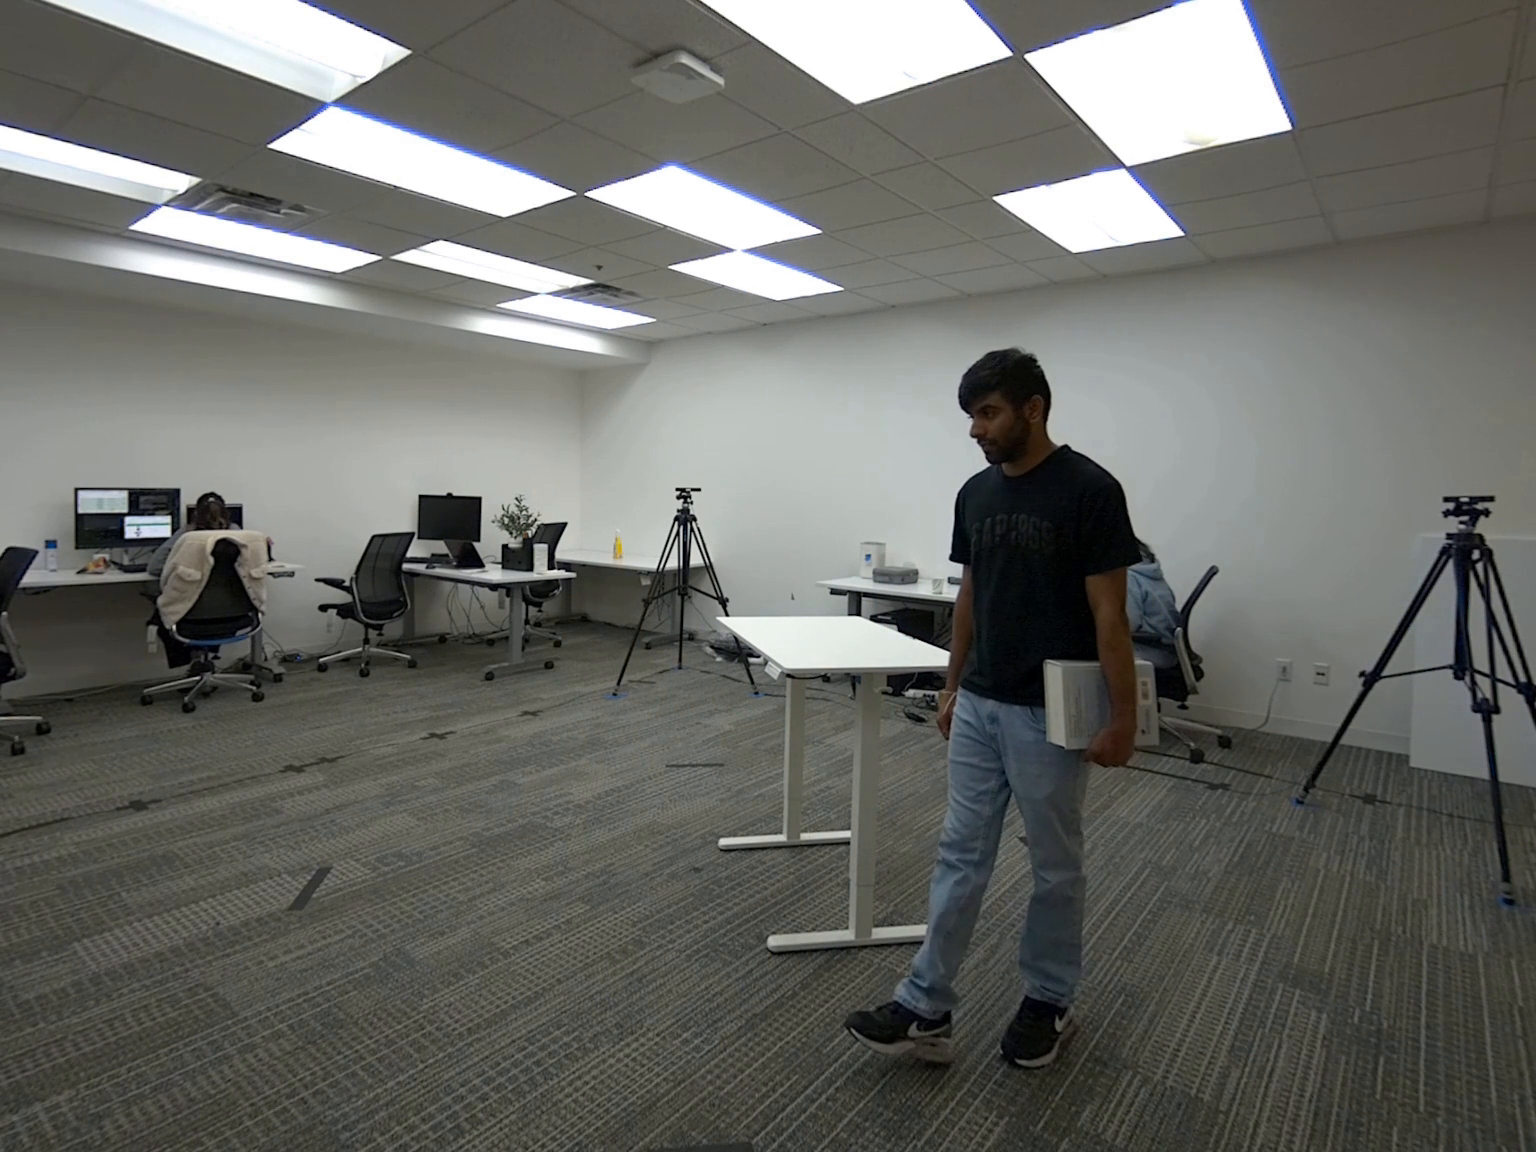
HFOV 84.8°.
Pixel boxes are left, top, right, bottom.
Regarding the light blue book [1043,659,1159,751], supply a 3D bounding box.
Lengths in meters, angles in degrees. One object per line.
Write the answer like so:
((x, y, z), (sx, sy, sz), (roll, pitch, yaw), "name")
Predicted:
((0.768, 0.292, 1.968), (0.255, 0.192, 0.060), (4, -7, -19), "light blue book")
